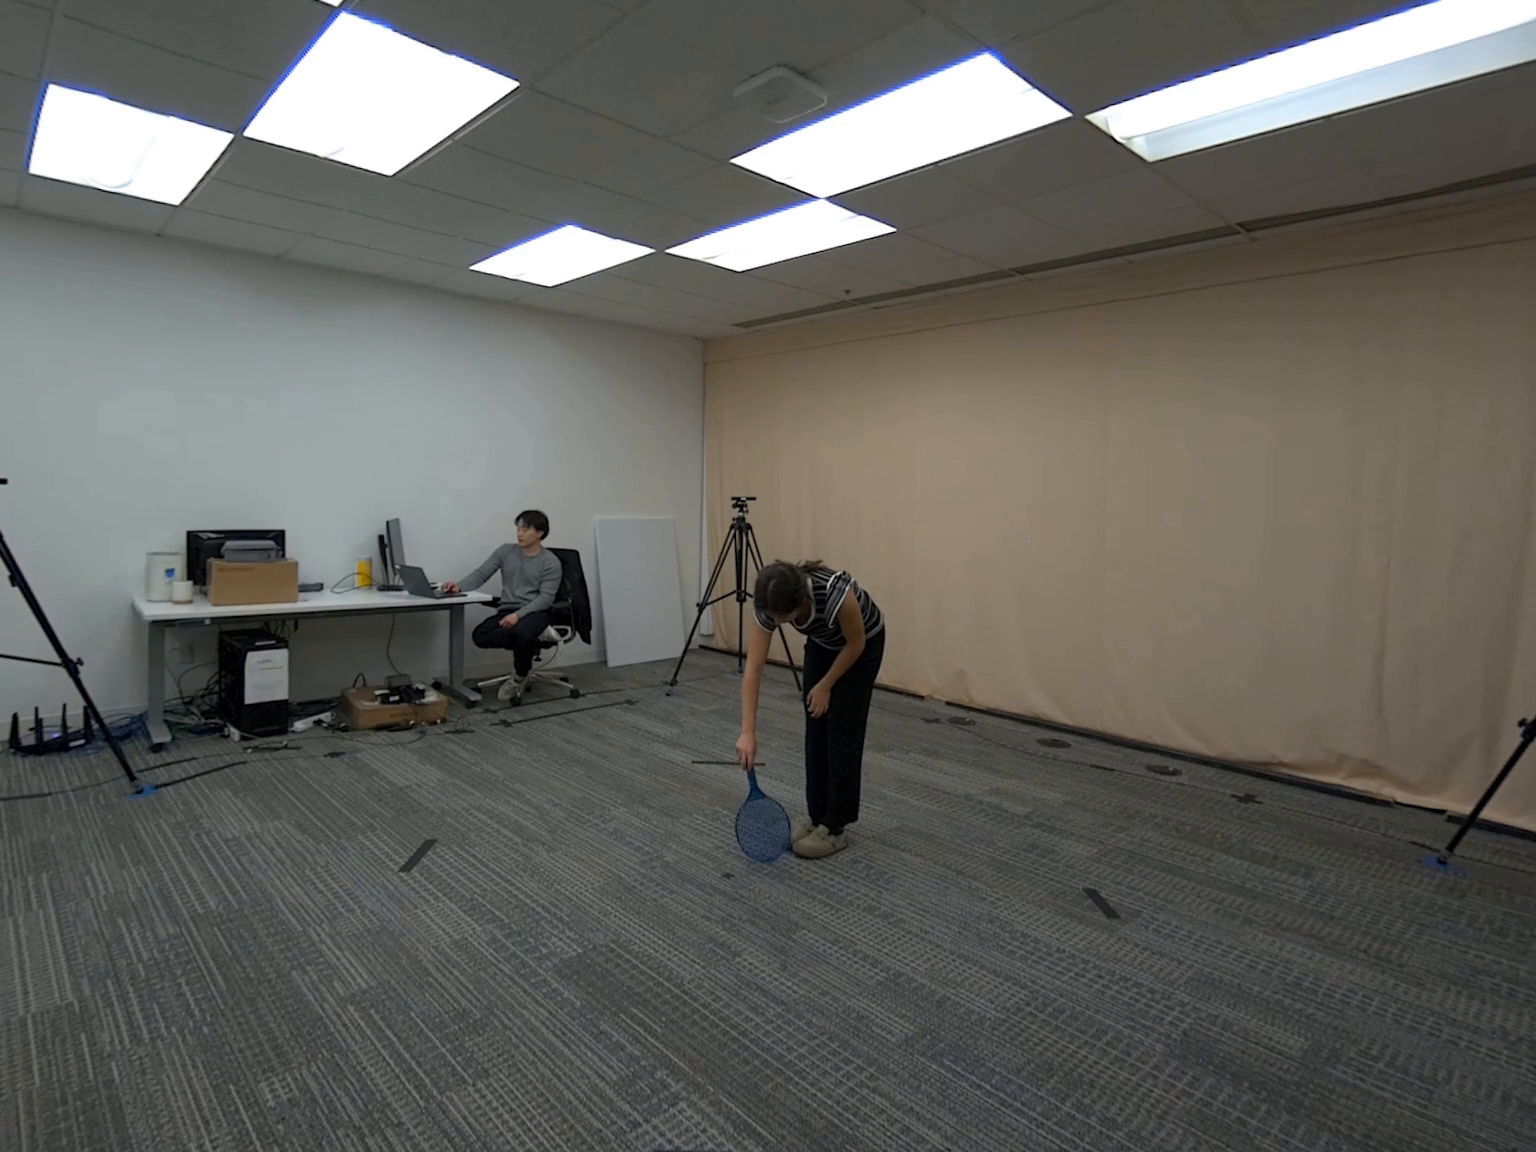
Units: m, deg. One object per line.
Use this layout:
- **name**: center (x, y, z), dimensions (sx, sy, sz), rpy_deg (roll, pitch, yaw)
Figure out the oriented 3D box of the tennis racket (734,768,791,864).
- **tennis racket**: center (-0.047, 0.885, 3.207), dimensions (0.214, 0.429, 0.032), rpy_deg (-13, 8, 1)
